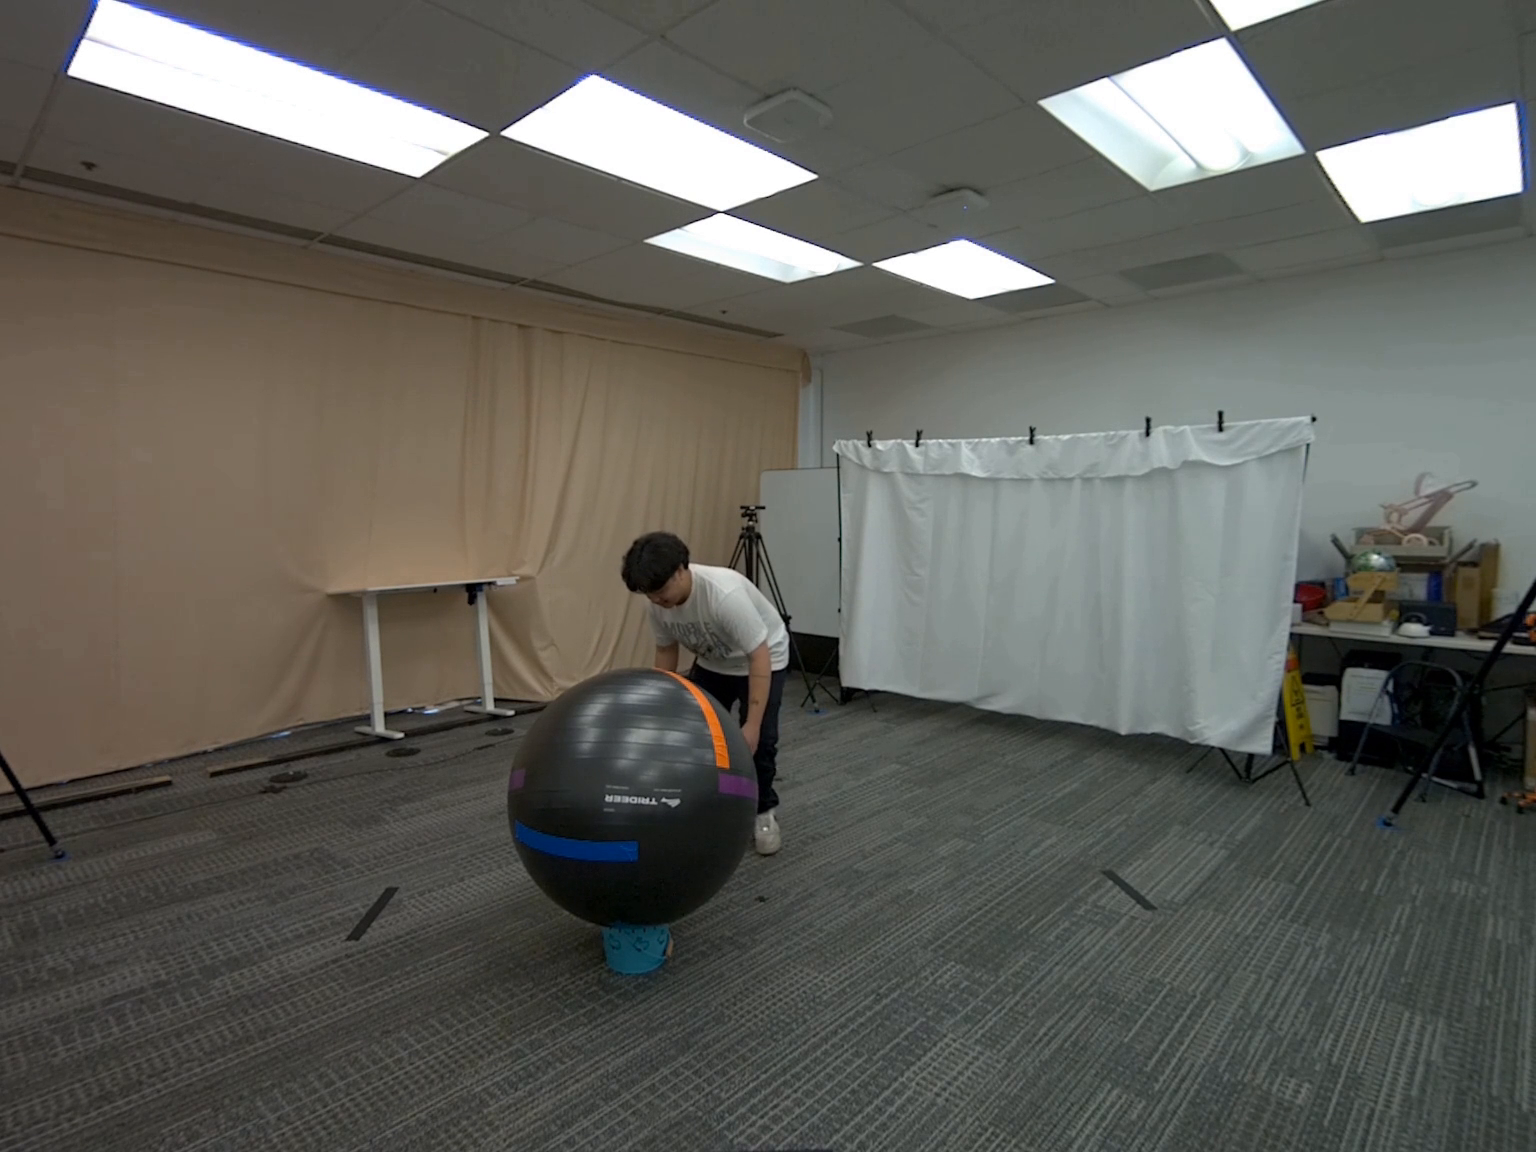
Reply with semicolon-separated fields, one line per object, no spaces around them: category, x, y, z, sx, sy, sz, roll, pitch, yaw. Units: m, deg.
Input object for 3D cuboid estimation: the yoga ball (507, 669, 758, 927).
yoga ball;-0.417;0.664;2.579;0.757;0.756;0.761;0;4;-2
